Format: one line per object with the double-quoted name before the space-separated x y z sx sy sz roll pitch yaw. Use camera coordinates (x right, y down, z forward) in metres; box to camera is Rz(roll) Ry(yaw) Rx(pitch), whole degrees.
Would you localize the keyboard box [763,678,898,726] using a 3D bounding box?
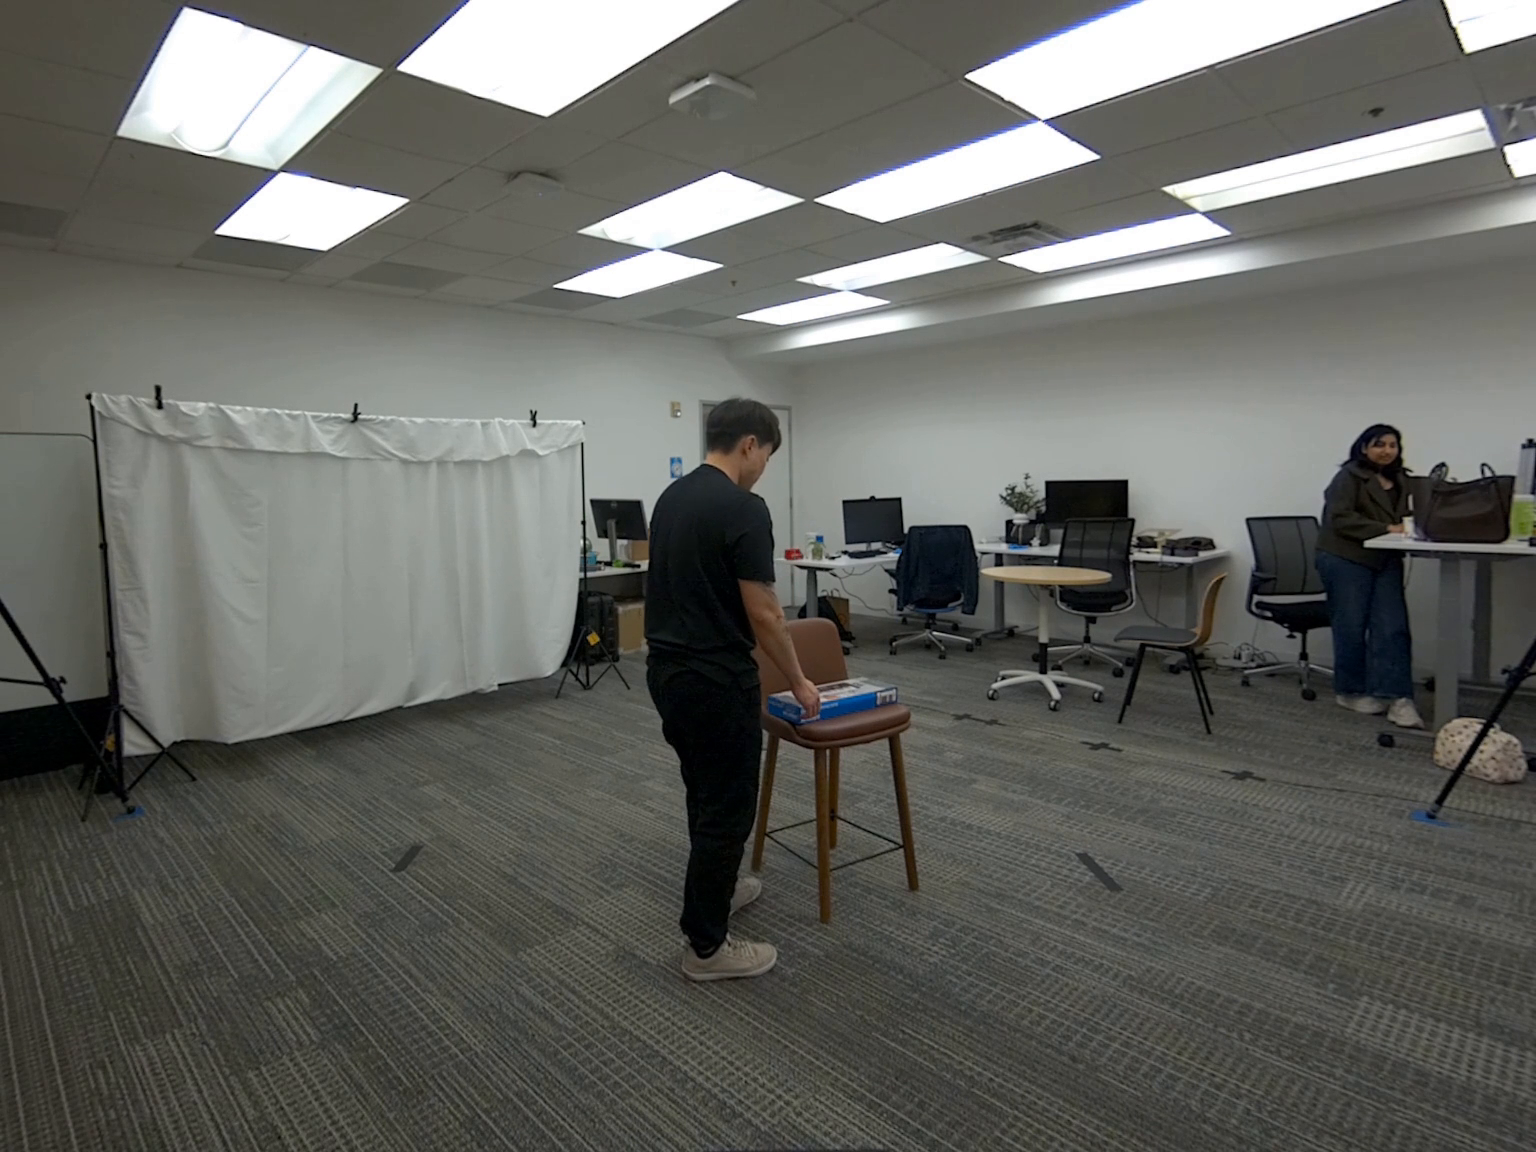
"keyboard box" 0.227 0.422 2.905 0.426 0.059 0.181 -5 8 -33
